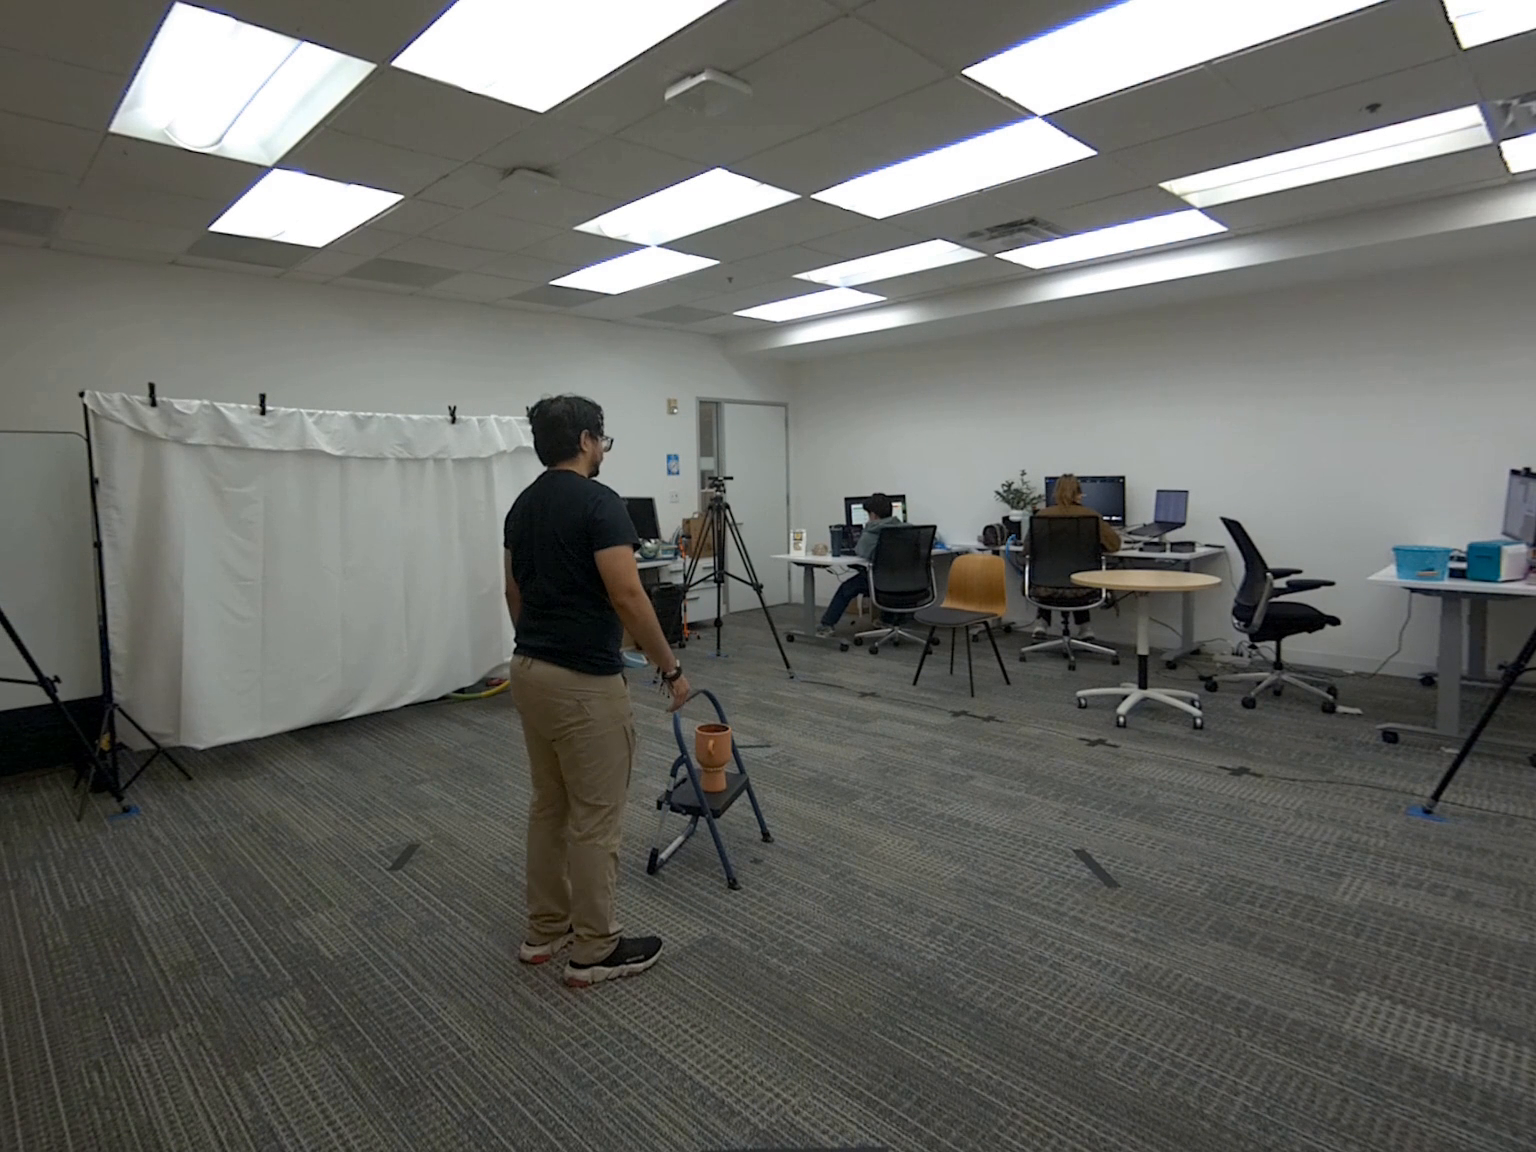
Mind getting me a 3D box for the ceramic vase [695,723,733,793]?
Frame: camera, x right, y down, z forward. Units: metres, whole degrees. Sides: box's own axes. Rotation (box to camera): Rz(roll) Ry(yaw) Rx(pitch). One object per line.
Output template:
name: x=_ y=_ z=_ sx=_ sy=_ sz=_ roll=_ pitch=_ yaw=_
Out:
ceramic vase: x=-0.196 y=0.666 z=3.122 sx=0.139 sy=0.219 sz=0.154 roll=5 pitch=7 yaw=43
